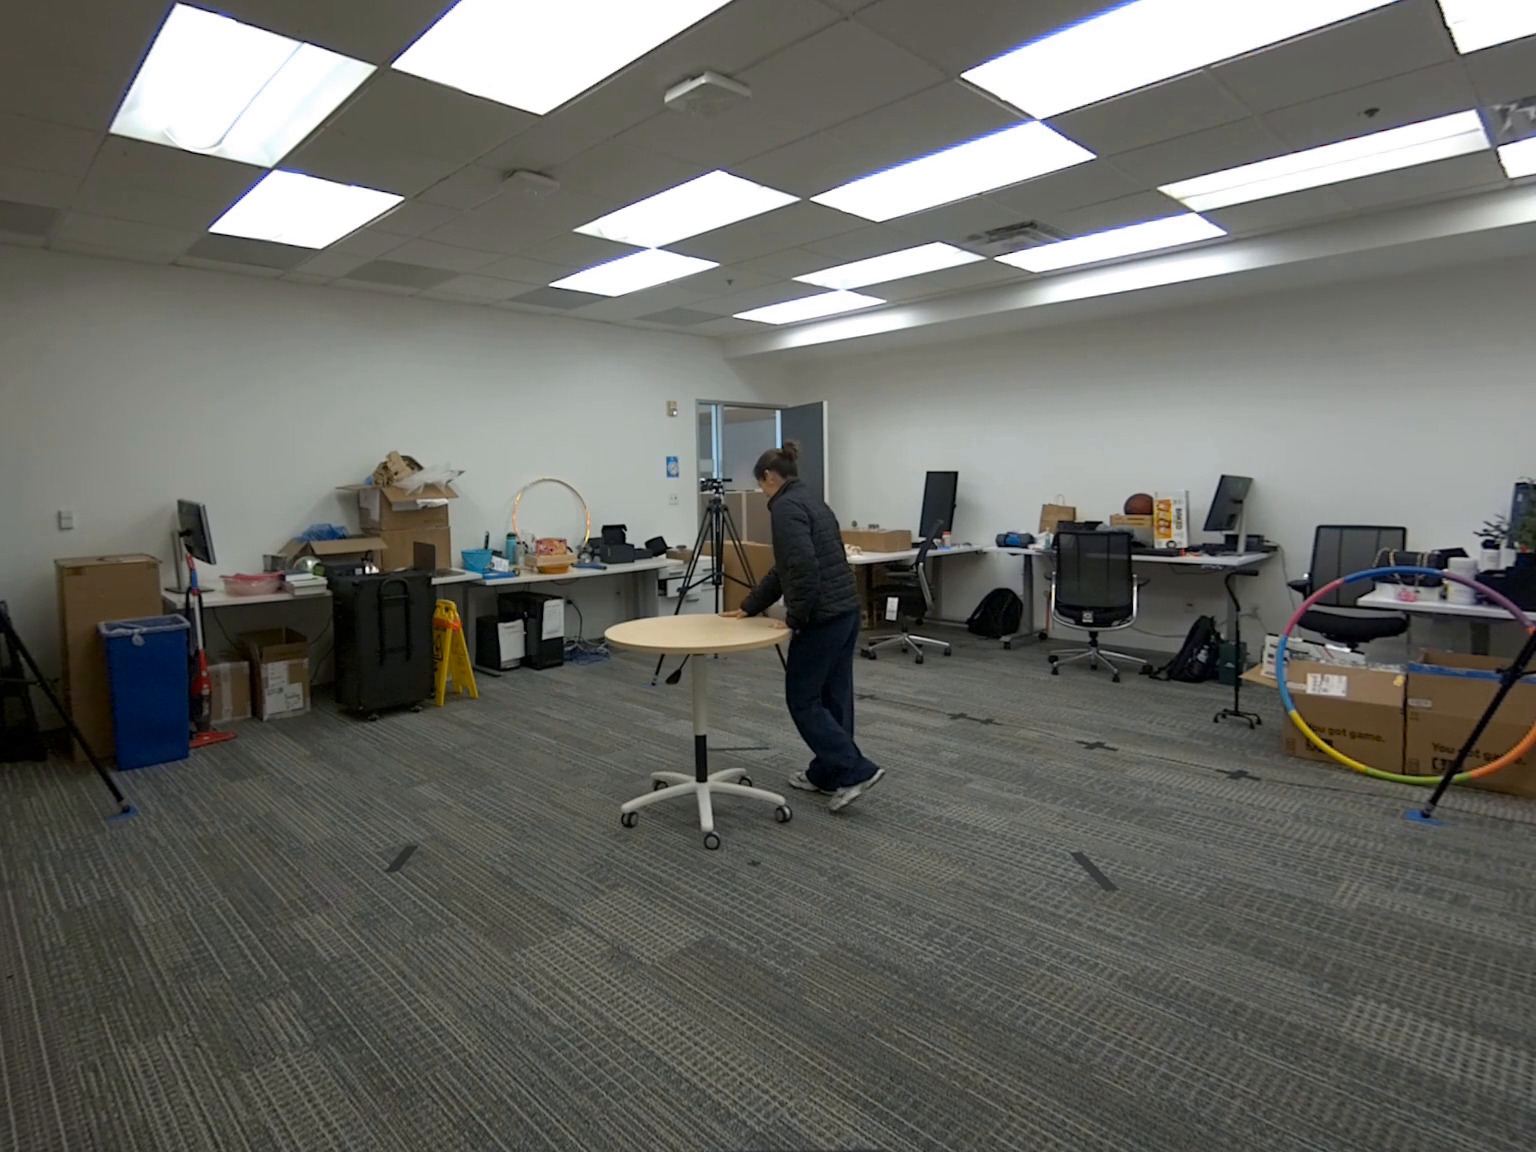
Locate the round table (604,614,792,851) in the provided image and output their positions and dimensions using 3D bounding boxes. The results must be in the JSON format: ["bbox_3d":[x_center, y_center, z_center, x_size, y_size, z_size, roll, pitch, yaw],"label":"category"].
[{"bbox_3d":[-0.271,0.606,3.571,0.784,0.783,0.789,-1,5,-2],"label":"round table"}]
